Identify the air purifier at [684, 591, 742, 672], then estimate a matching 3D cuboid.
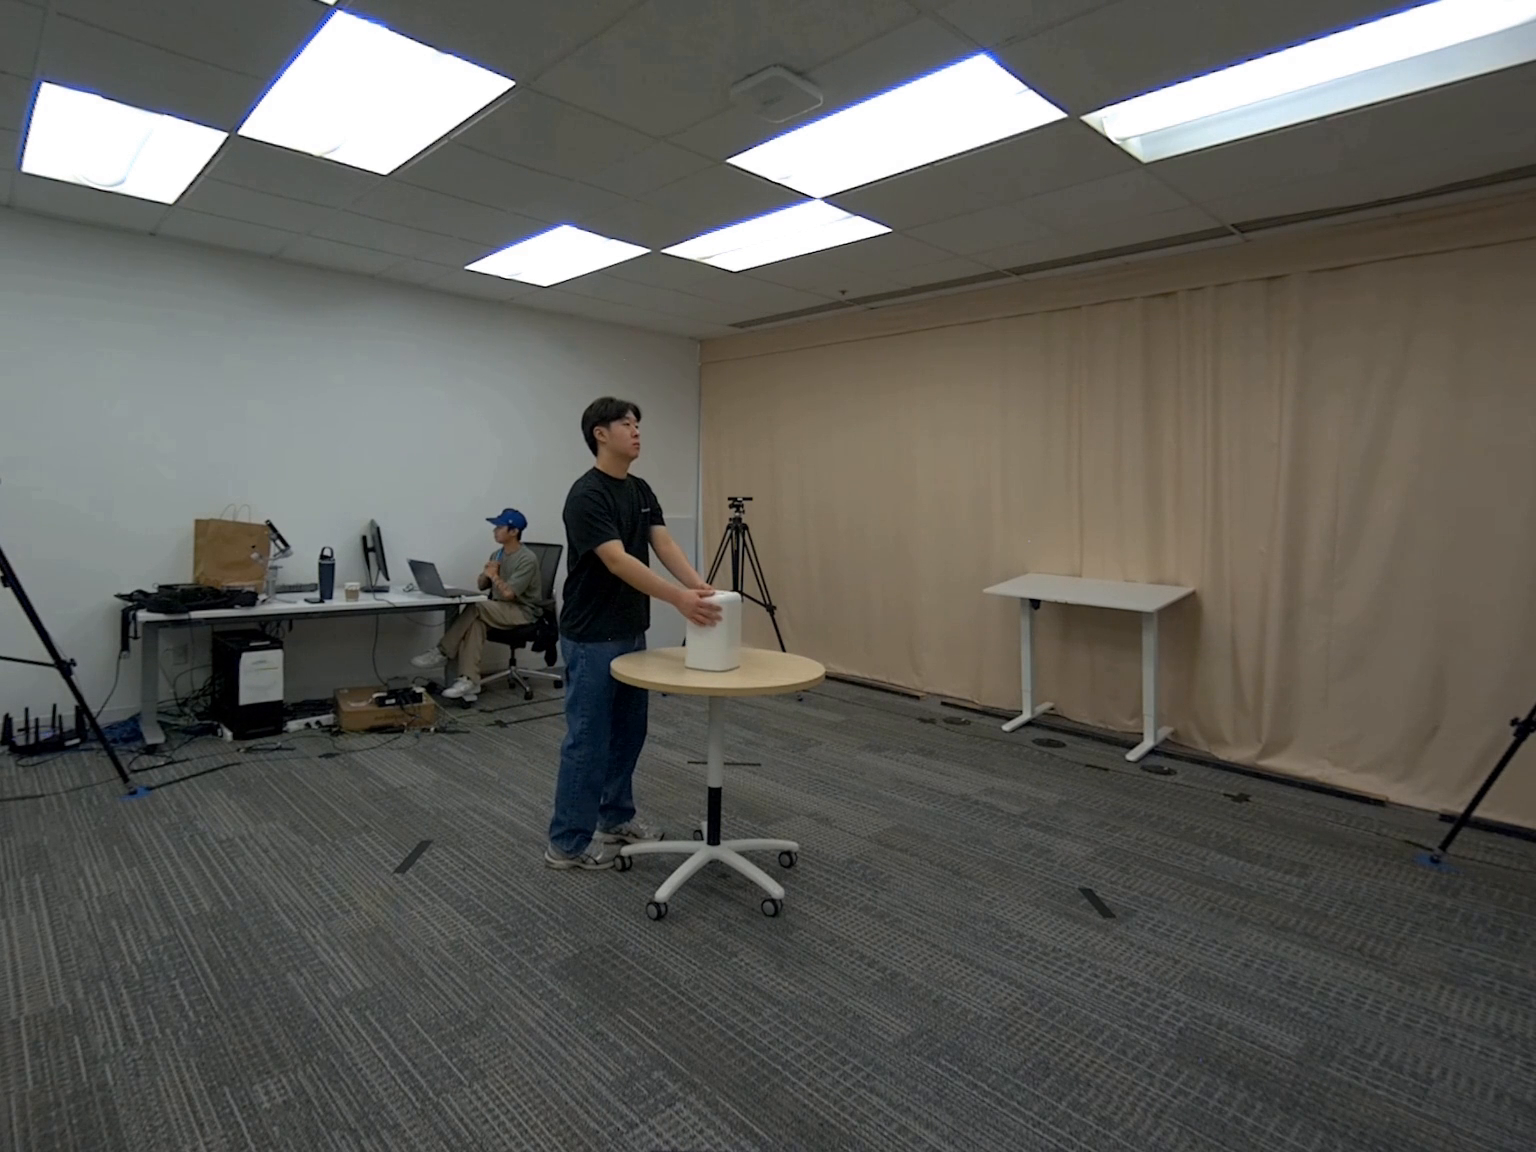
[{"bbox_3d":[-0.201,0.189,2.969,0.174,0.265,0.168,2,4,27],"label":"air purifier"}]
